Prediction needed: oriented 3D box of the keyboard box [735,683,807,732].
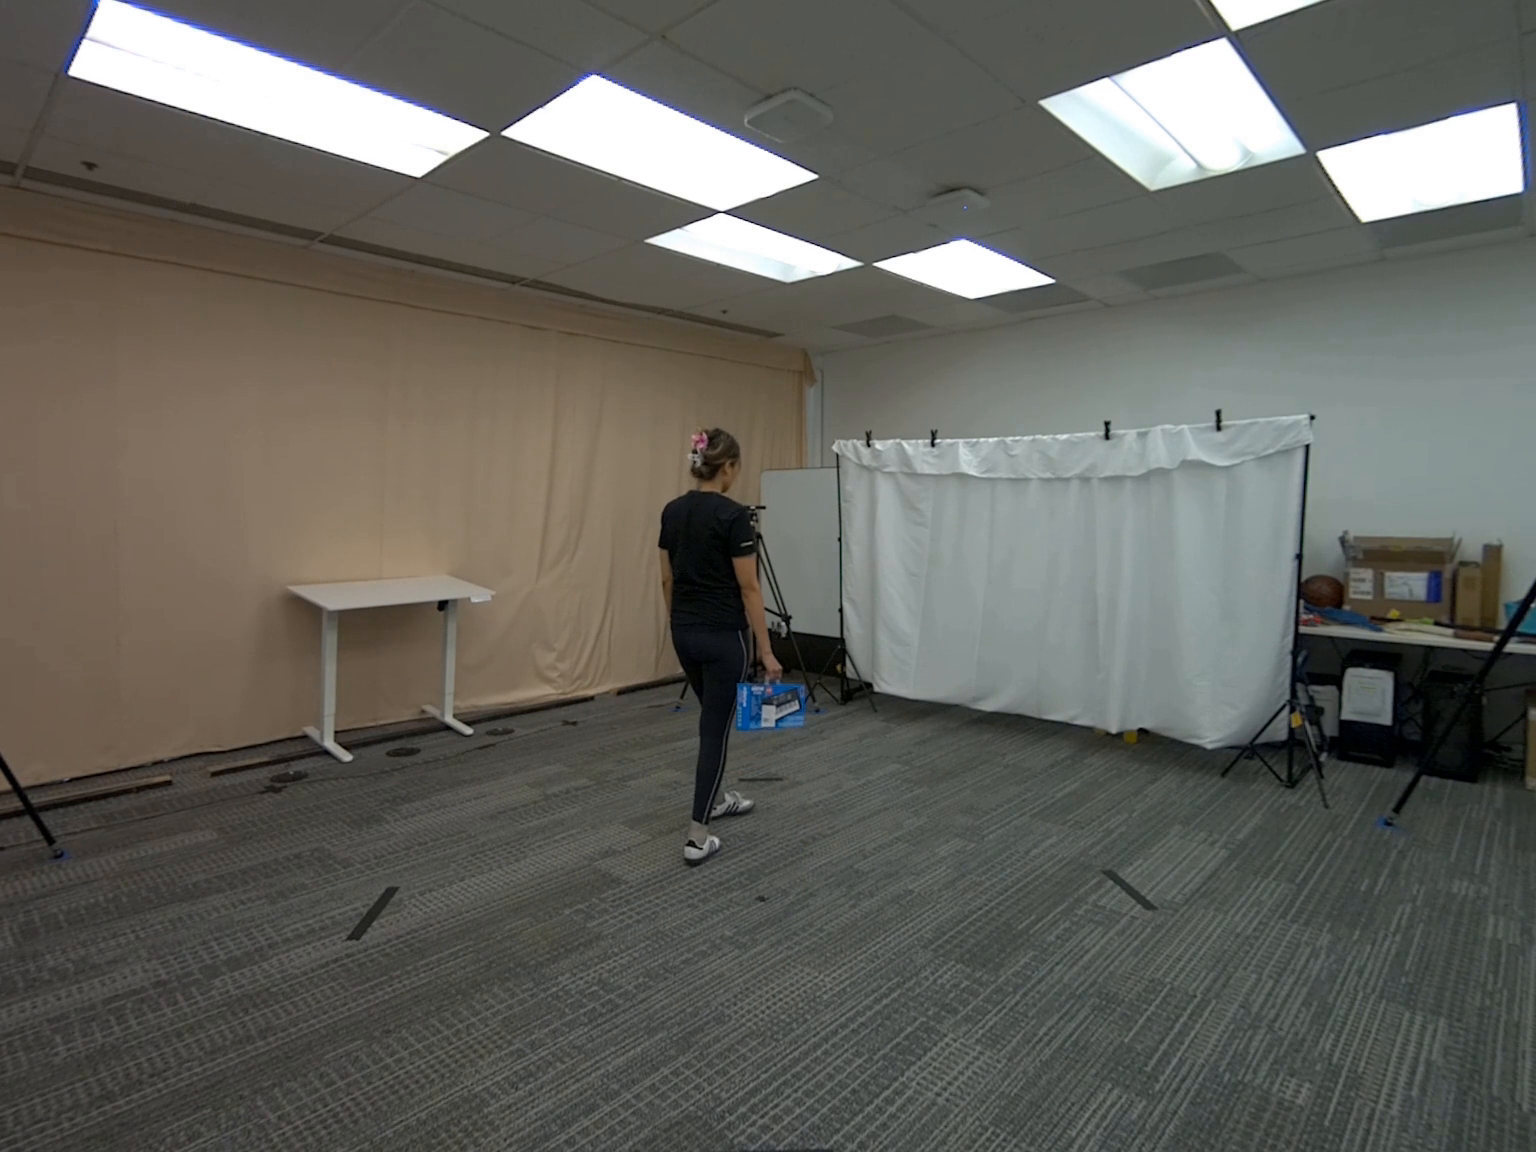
[{"bbox_3d":[0.014,0.517,3.360,0.061,0.177,0.423,-2,-7,31],"label":"keyboard box"}]
